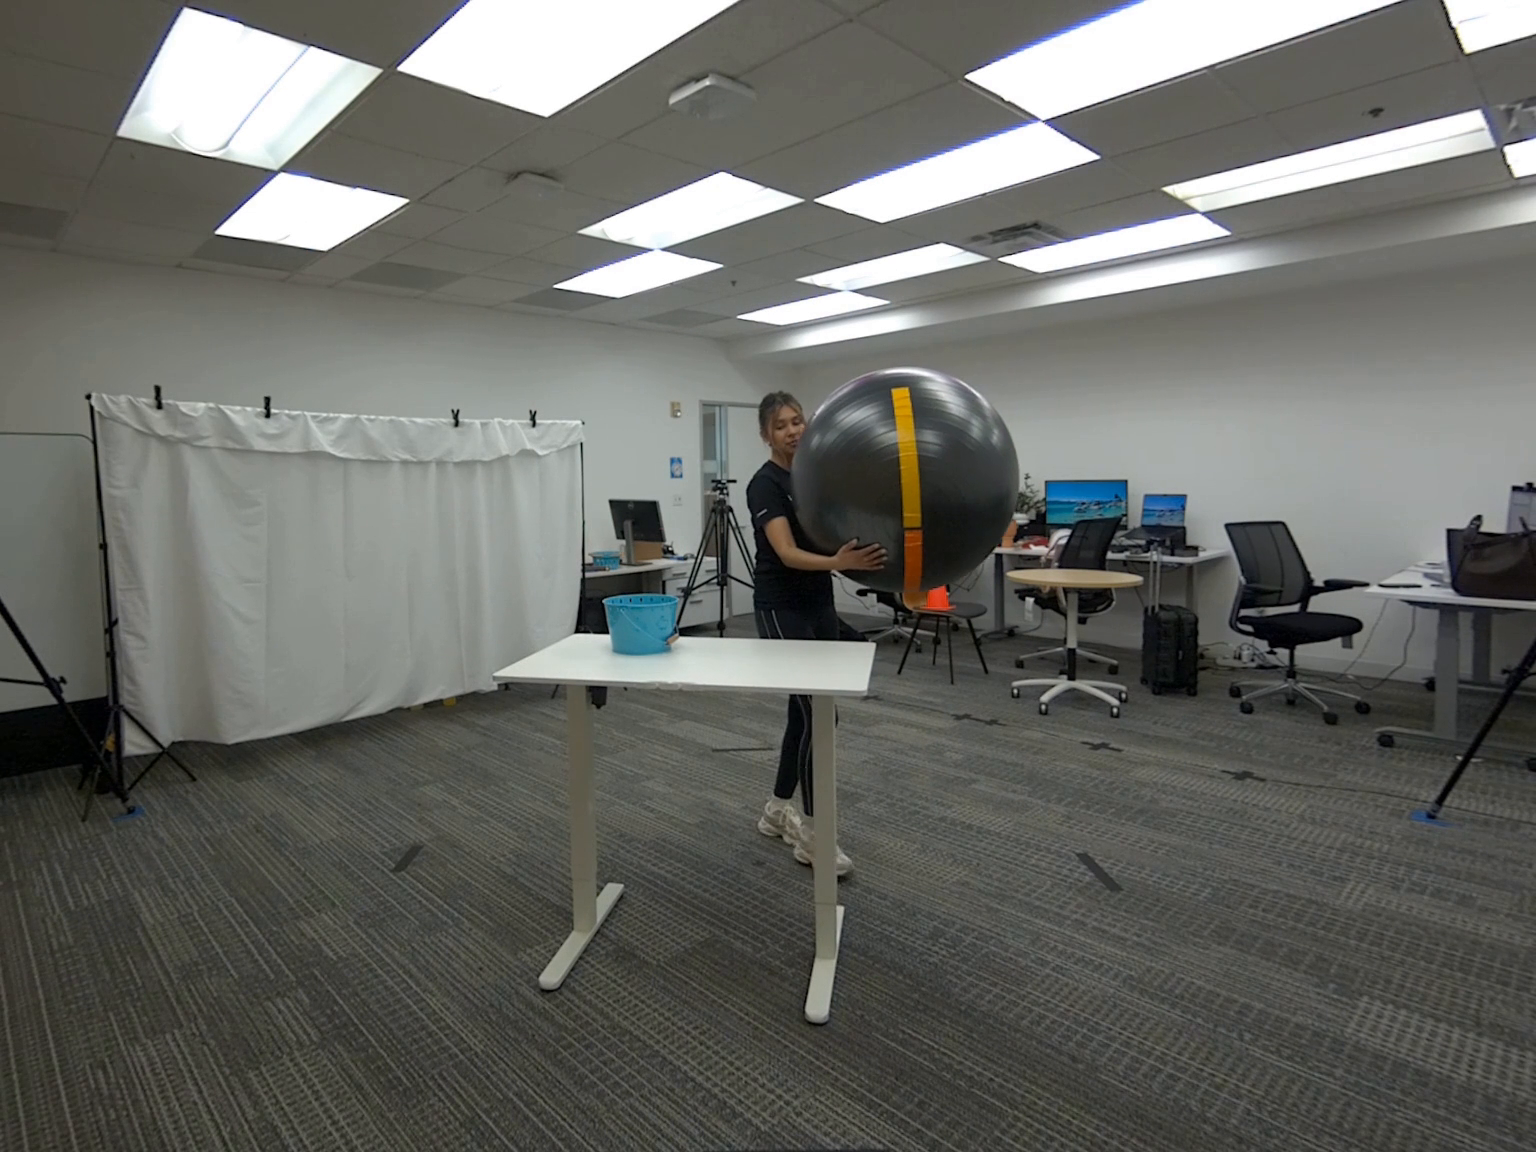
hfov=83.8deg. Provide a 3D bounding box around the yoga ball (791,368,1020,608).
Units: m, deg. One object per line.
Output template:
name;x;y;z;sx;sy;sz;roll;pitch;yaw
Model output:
yoga ball;0.455;-0.322;2.883;0.757;0.755;0.762;-1;5;-2
